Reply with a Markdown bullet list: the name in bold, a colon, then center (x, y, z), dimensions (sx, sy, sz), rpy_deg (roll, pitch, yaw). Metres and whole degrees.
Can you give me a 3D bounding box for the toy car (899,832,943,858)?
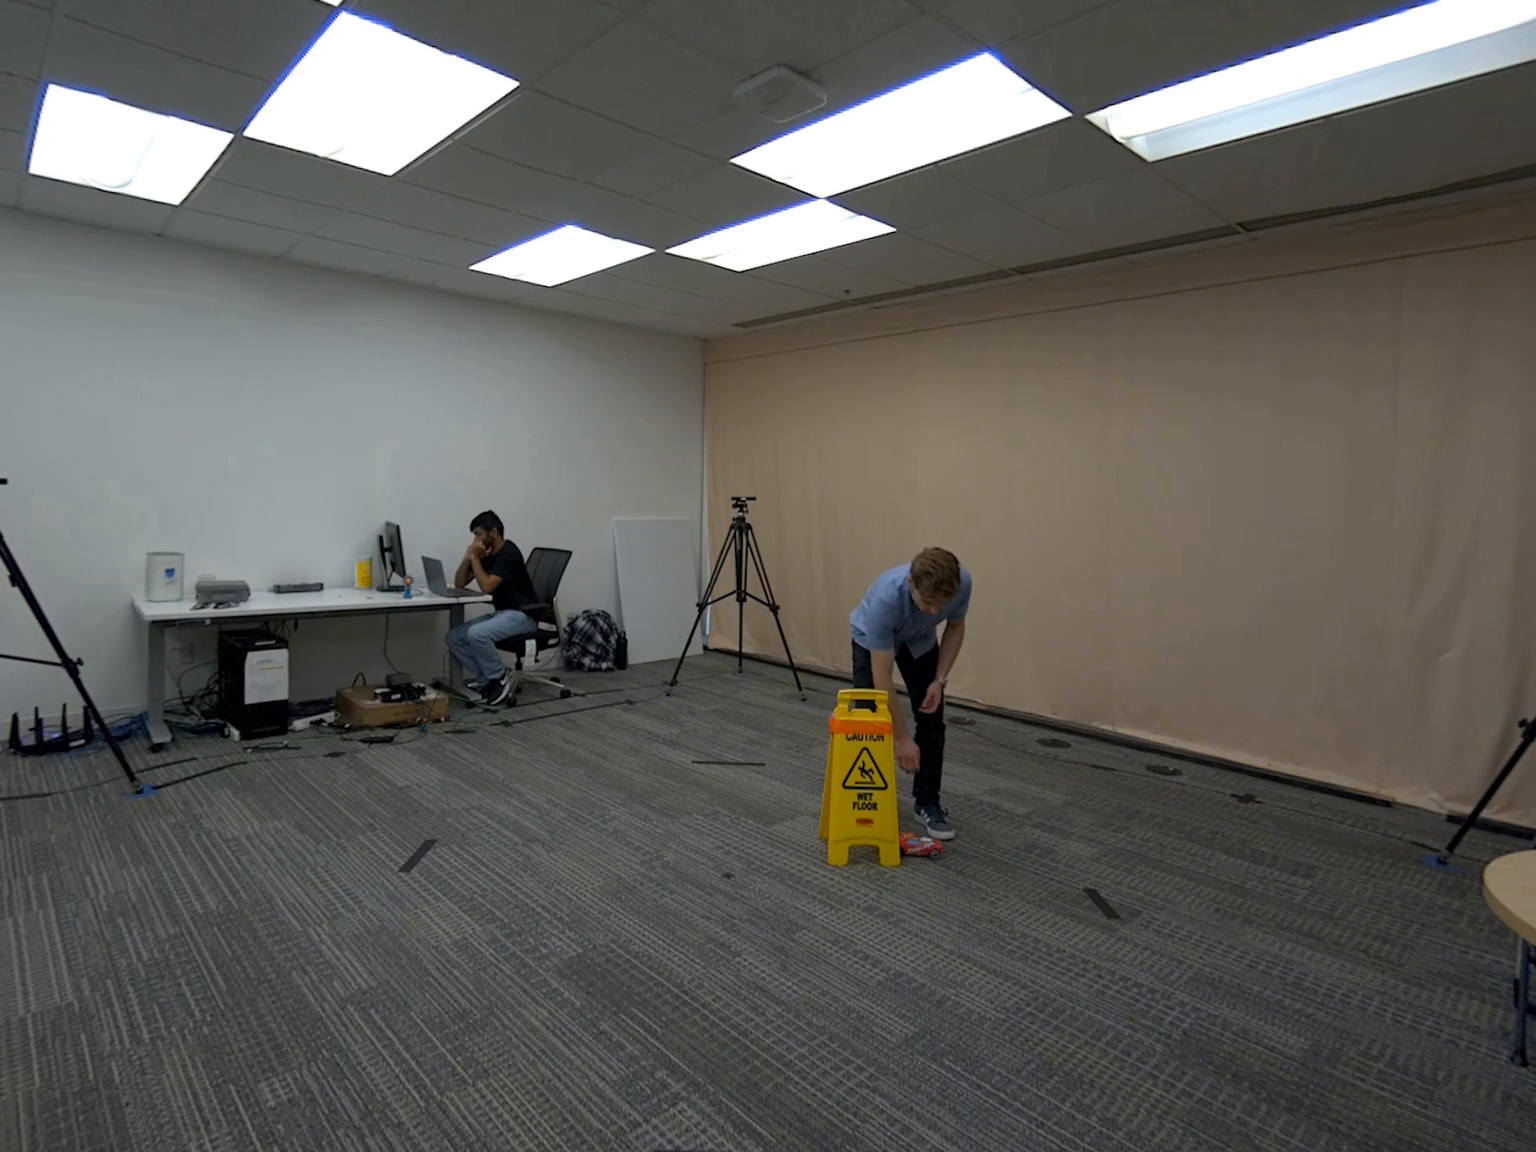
- **toy car**: center (0.553, 1.073, 3.352), dimensions (0.255, 0.083, 0.130), rpy_deg (12, 5, 2)
